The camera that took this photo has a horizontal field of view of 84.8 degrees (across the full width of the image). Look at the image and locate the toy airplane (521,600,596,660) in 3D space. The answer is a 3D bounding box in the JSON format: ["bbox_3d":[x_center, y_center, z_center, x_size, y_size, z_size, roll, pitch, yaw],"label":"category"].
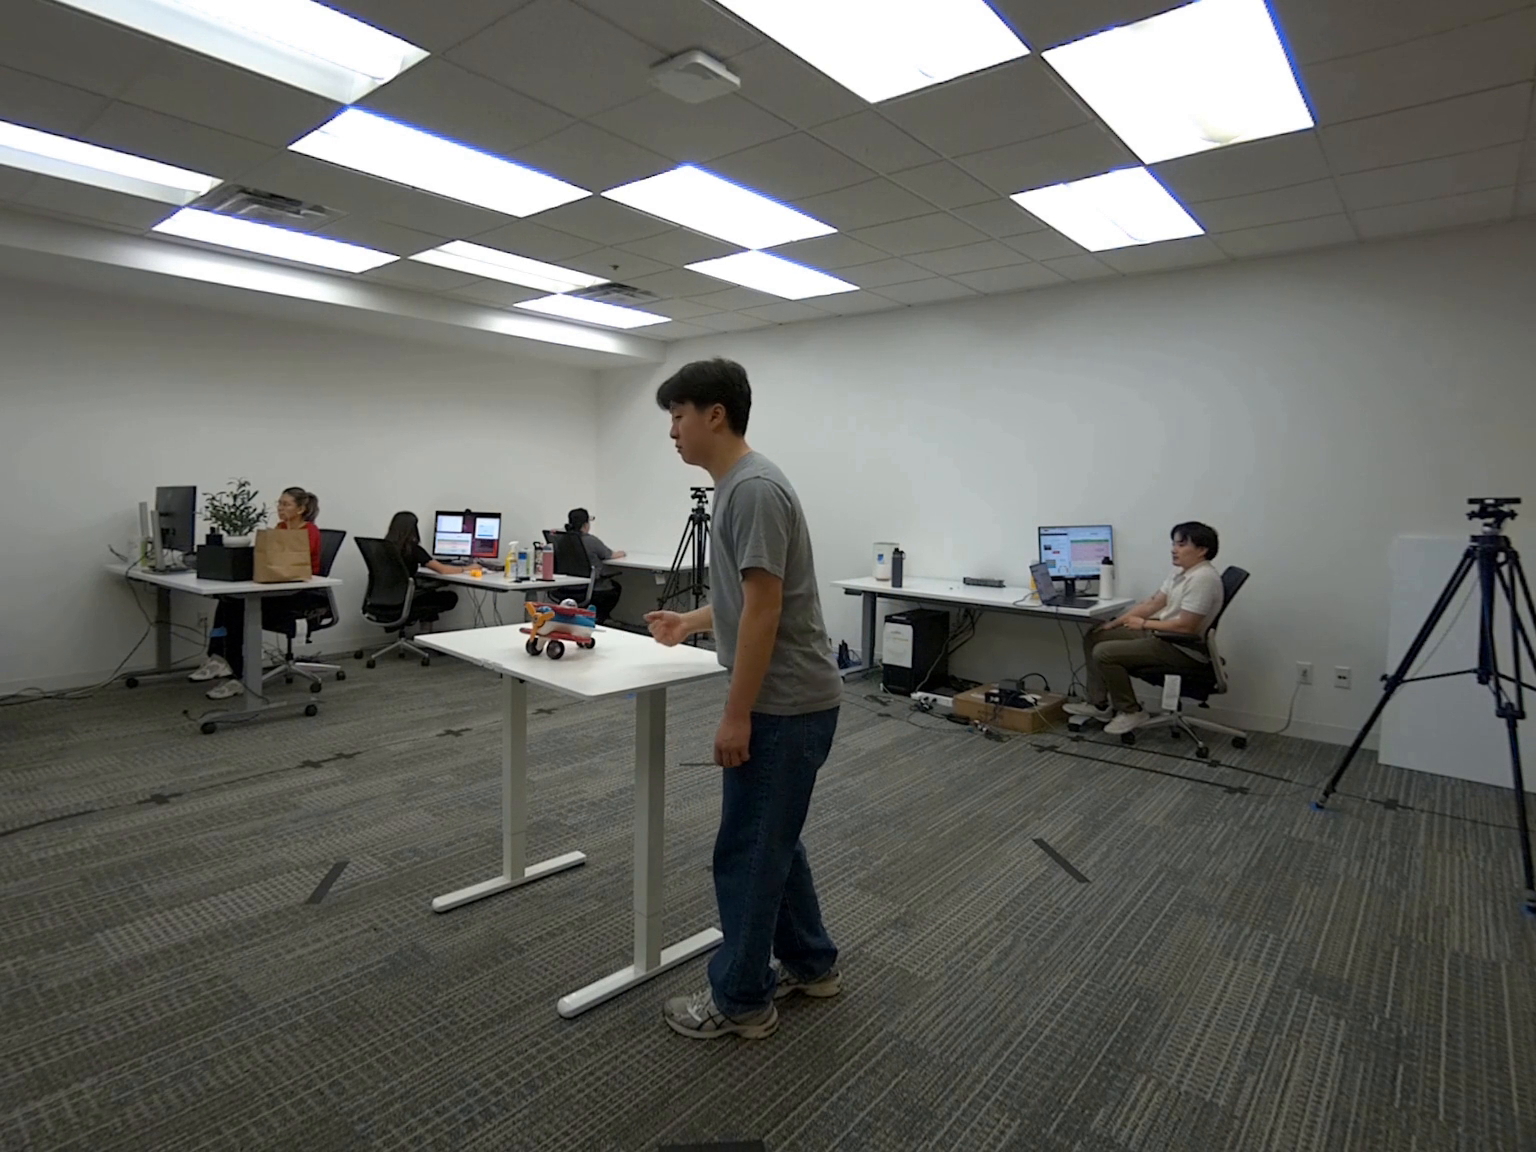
[{"bbox_3d":[-0.641,0.153,2.581,0.252,0.155,0.259,2,7,4],"label":"toy airplane"}]
